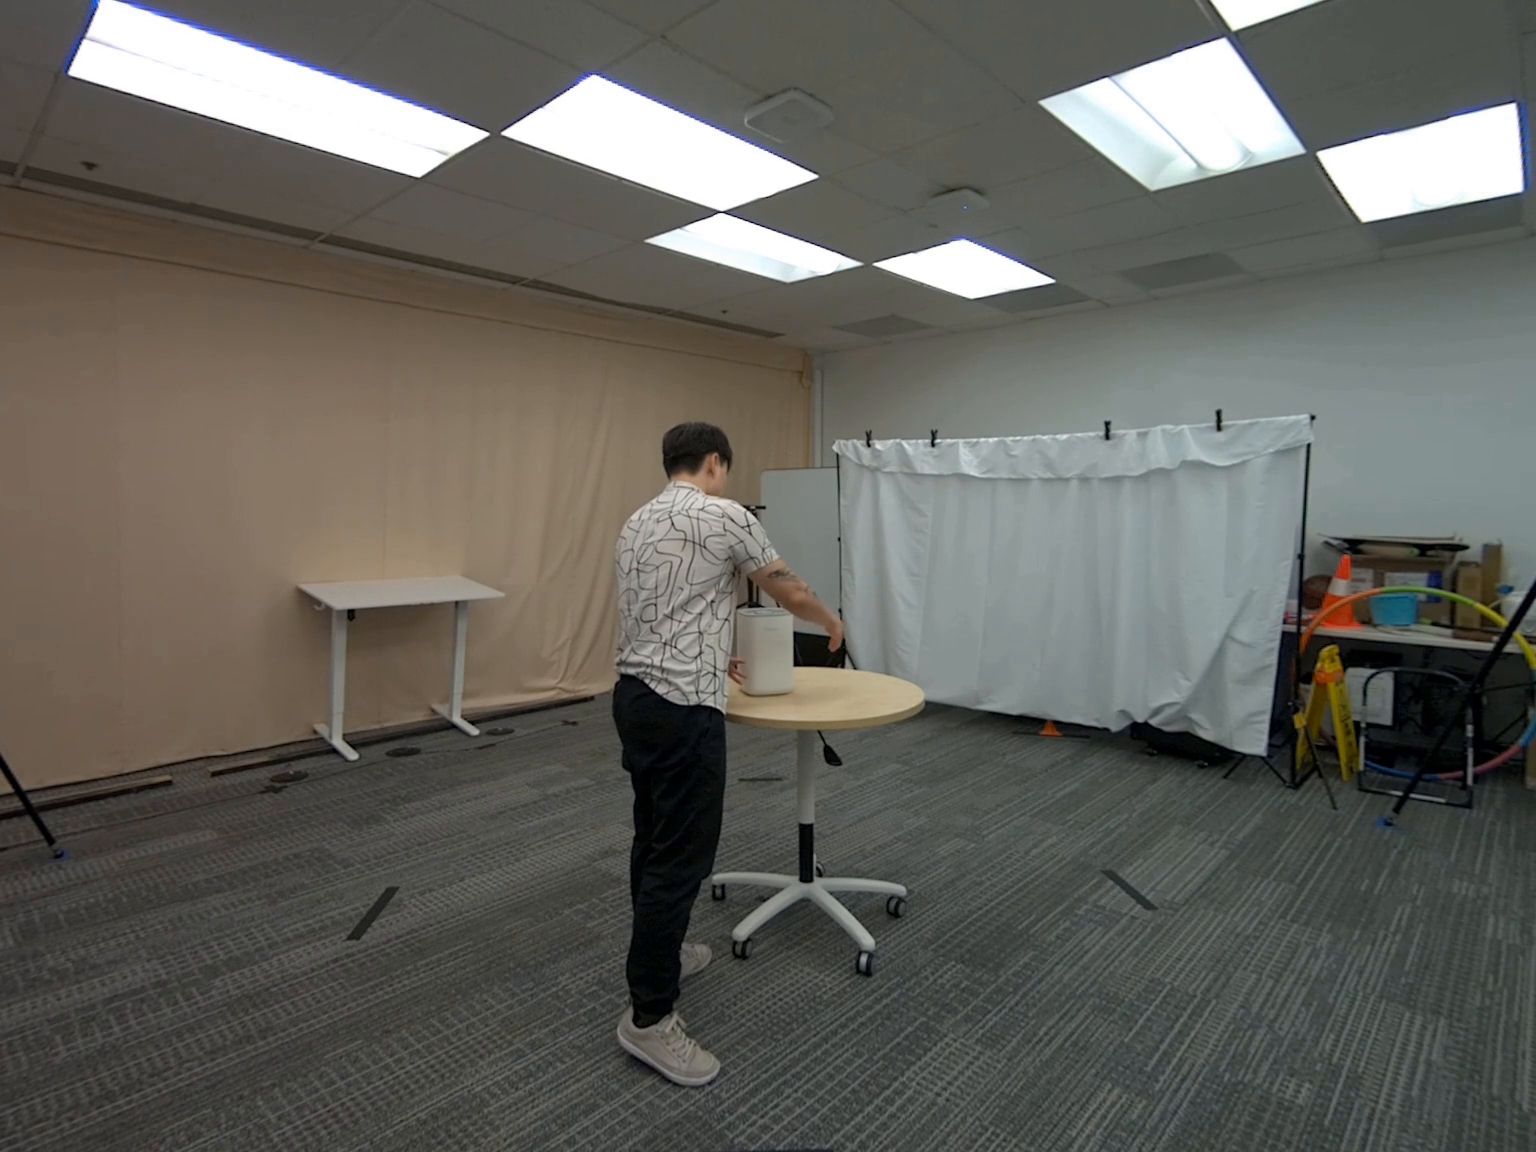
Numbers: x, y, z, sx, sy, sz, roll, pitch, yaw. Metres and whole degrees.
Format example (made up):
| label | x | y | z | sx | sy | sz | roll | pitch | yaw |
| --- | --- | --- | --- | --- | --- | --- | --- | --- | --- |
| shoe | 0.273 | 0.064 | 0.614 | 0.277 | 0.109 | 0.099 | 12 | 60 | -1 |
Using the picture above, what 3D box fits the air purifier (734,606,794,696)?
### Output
| label | x | y | z | sx | sy | sz | roll | pitch | yaw |
| --- | --- | --- | --- | --- | --- | --- | --- | --- | --- |
| air purifier | -0.008 | 0.248 | 2.767 | 0.168 | 0.264 | 0.174 | 0 | 5 | -14 |
